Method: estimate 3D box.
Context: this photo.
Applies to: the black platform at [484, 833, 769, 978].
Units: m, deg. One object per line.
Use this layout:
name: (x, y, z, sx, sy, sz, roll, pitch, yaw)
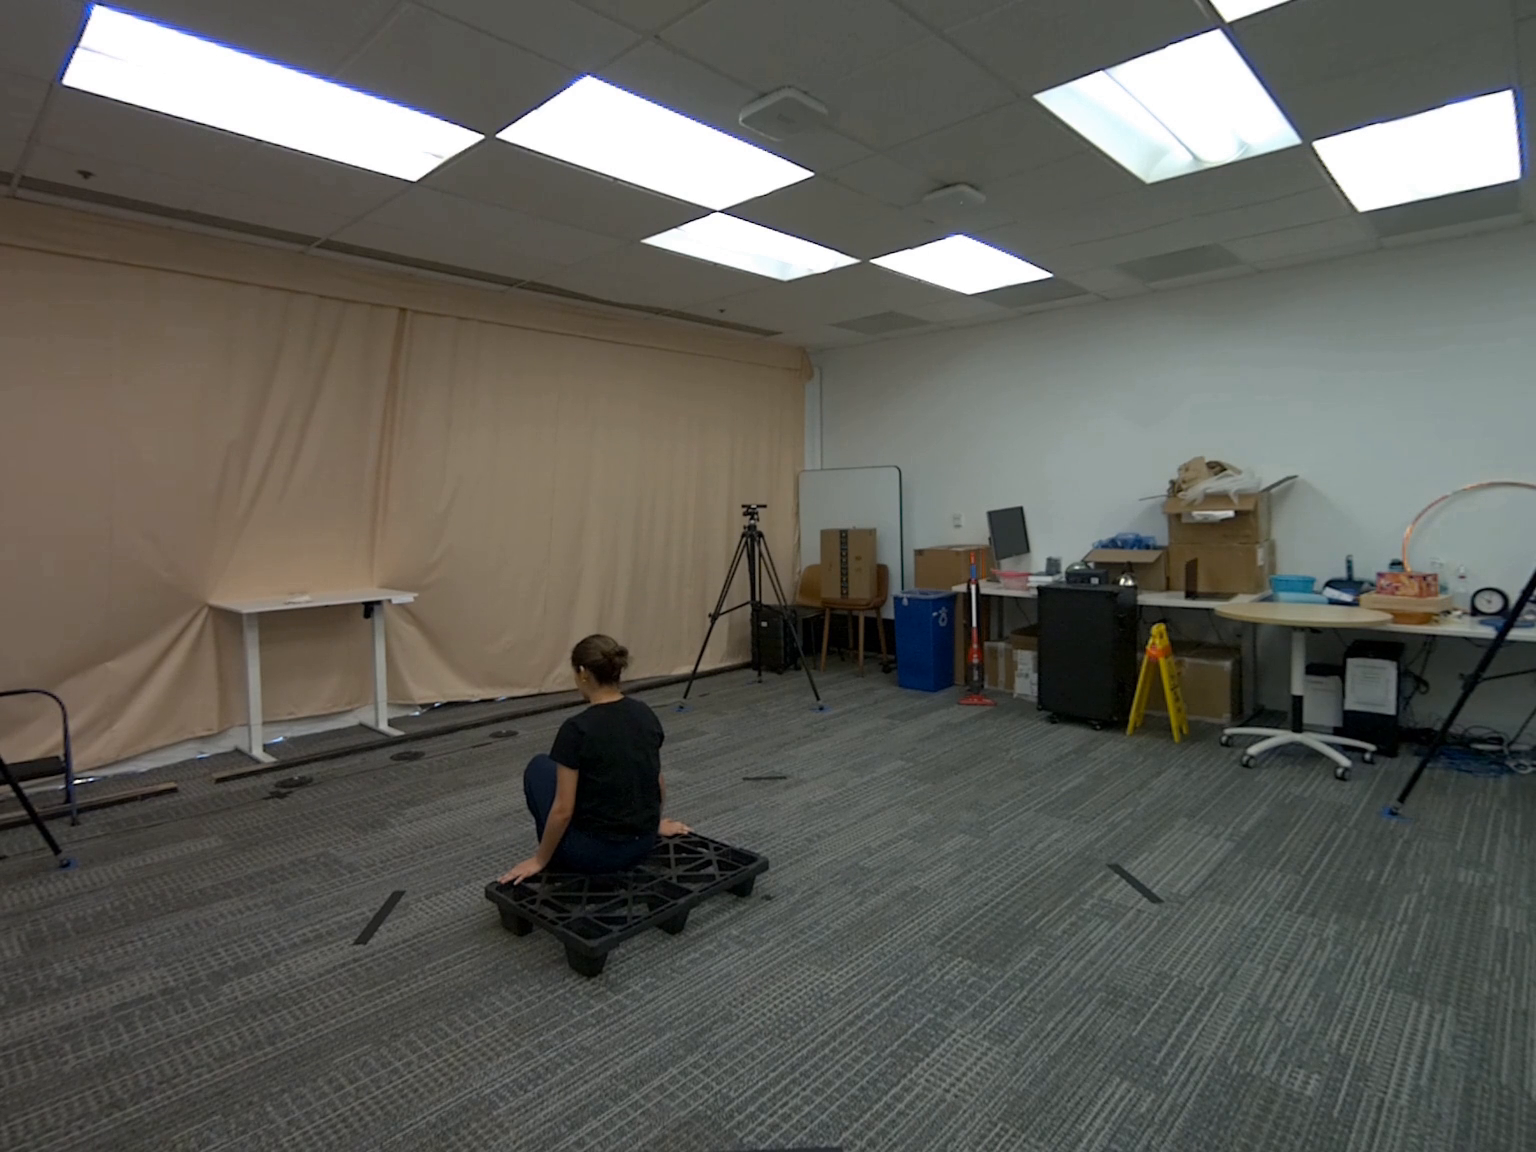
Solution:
black platform: (-0.447, 1.089, 2.908, 0.625, 0.143, 0.782, 4, 7, 42)
